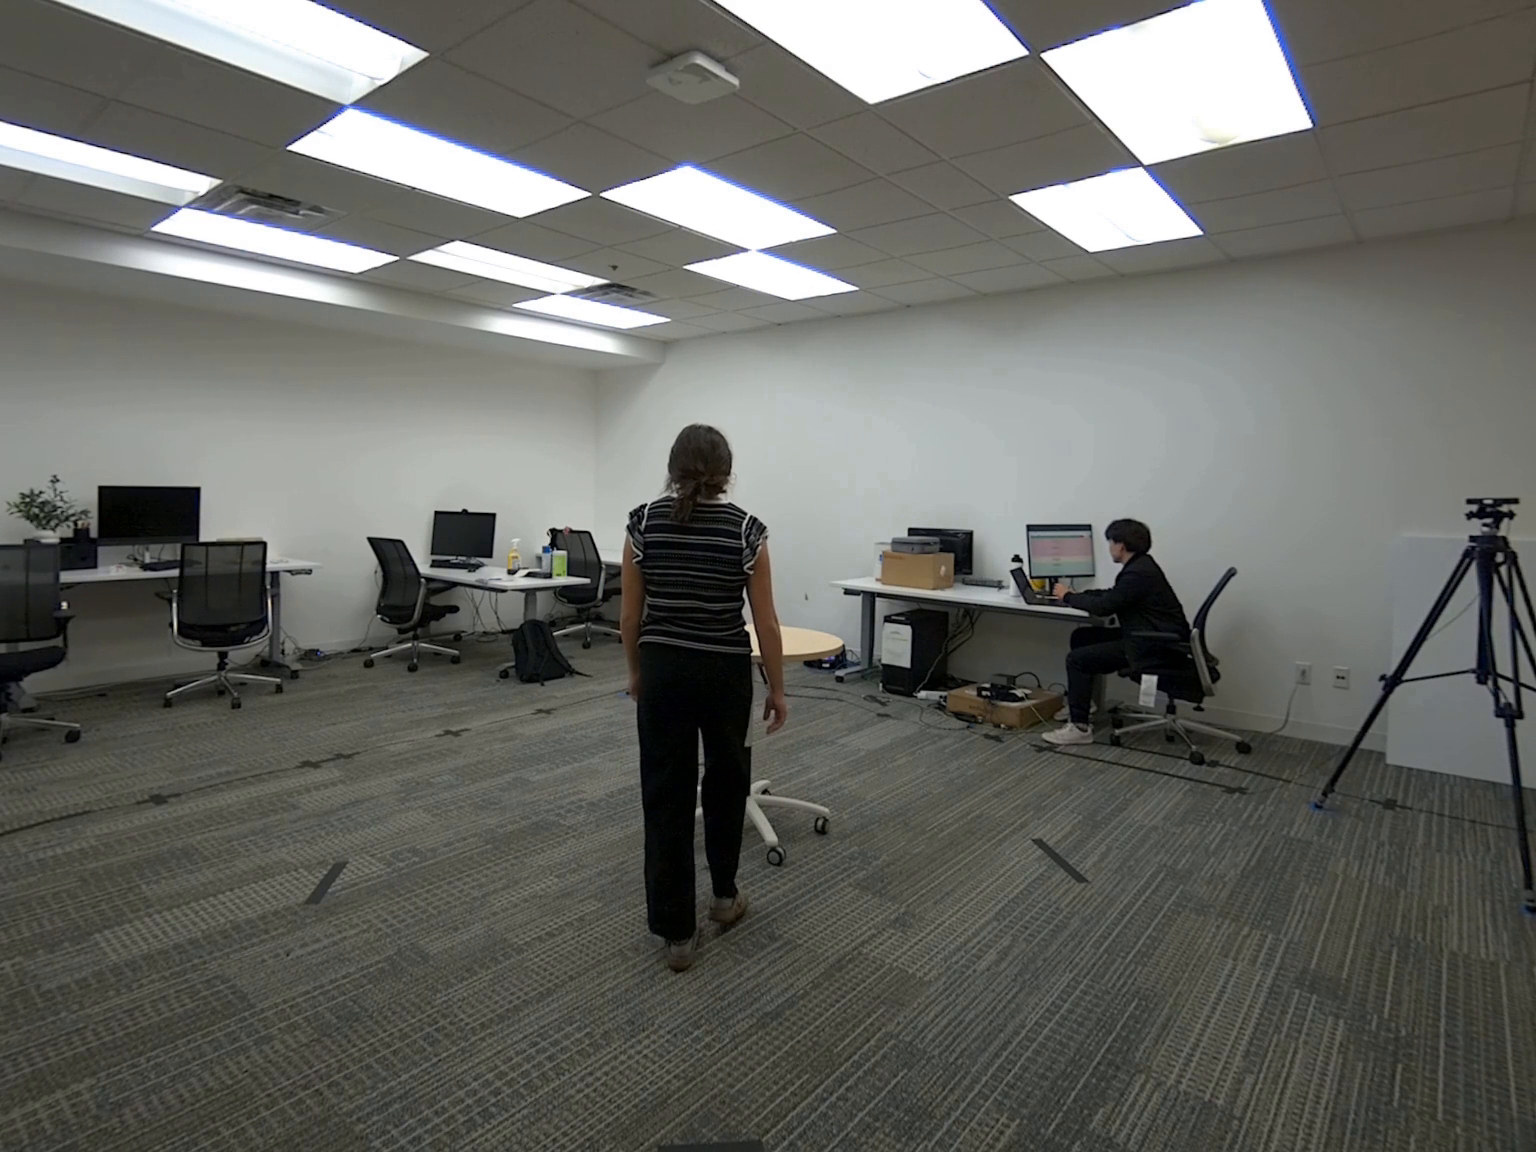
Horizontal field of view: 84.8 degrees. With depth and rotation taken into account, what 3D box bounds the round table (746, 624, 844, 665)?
[{"bbox_3d":[-0.096,0.643,3.464,0.763,0.792,0.767,1,4,-2],"label":"round table"}]
